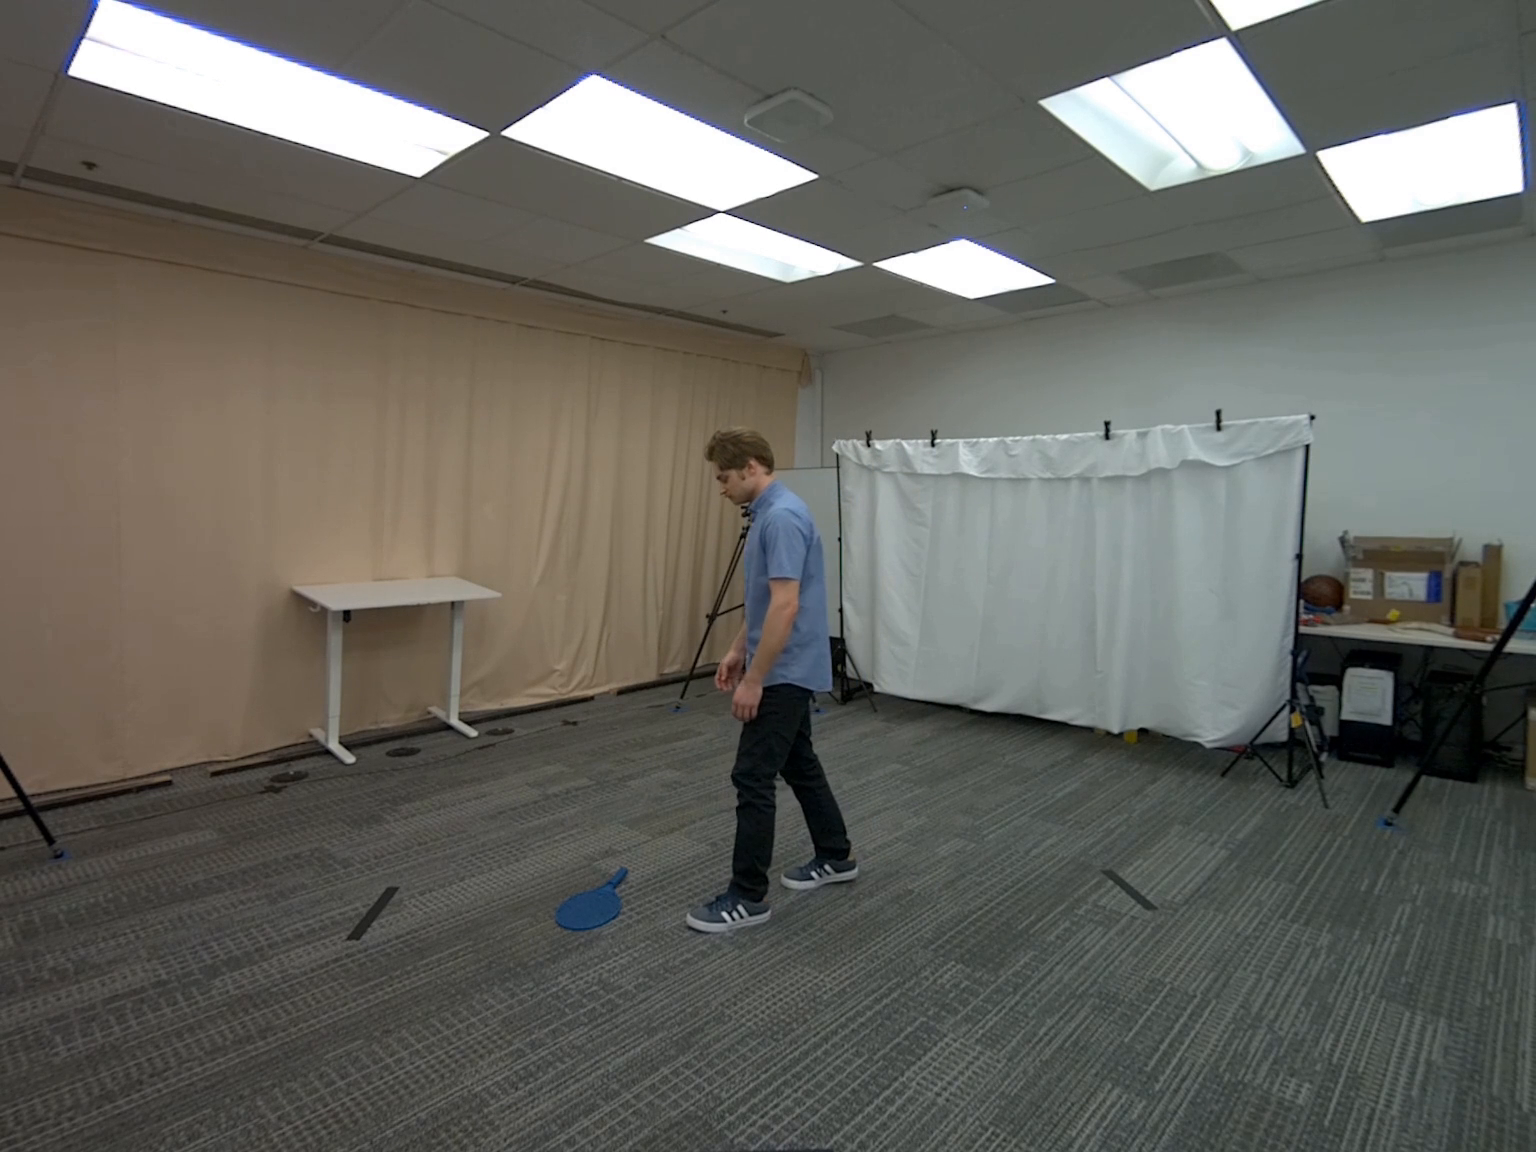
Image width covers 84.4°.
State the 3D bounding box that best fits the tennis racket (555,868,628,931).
[{"bbox_3d":[-0.599,1.140,2.969,0.218,0.031,0.426,2,7,17],"label":"tennis racket"}]
